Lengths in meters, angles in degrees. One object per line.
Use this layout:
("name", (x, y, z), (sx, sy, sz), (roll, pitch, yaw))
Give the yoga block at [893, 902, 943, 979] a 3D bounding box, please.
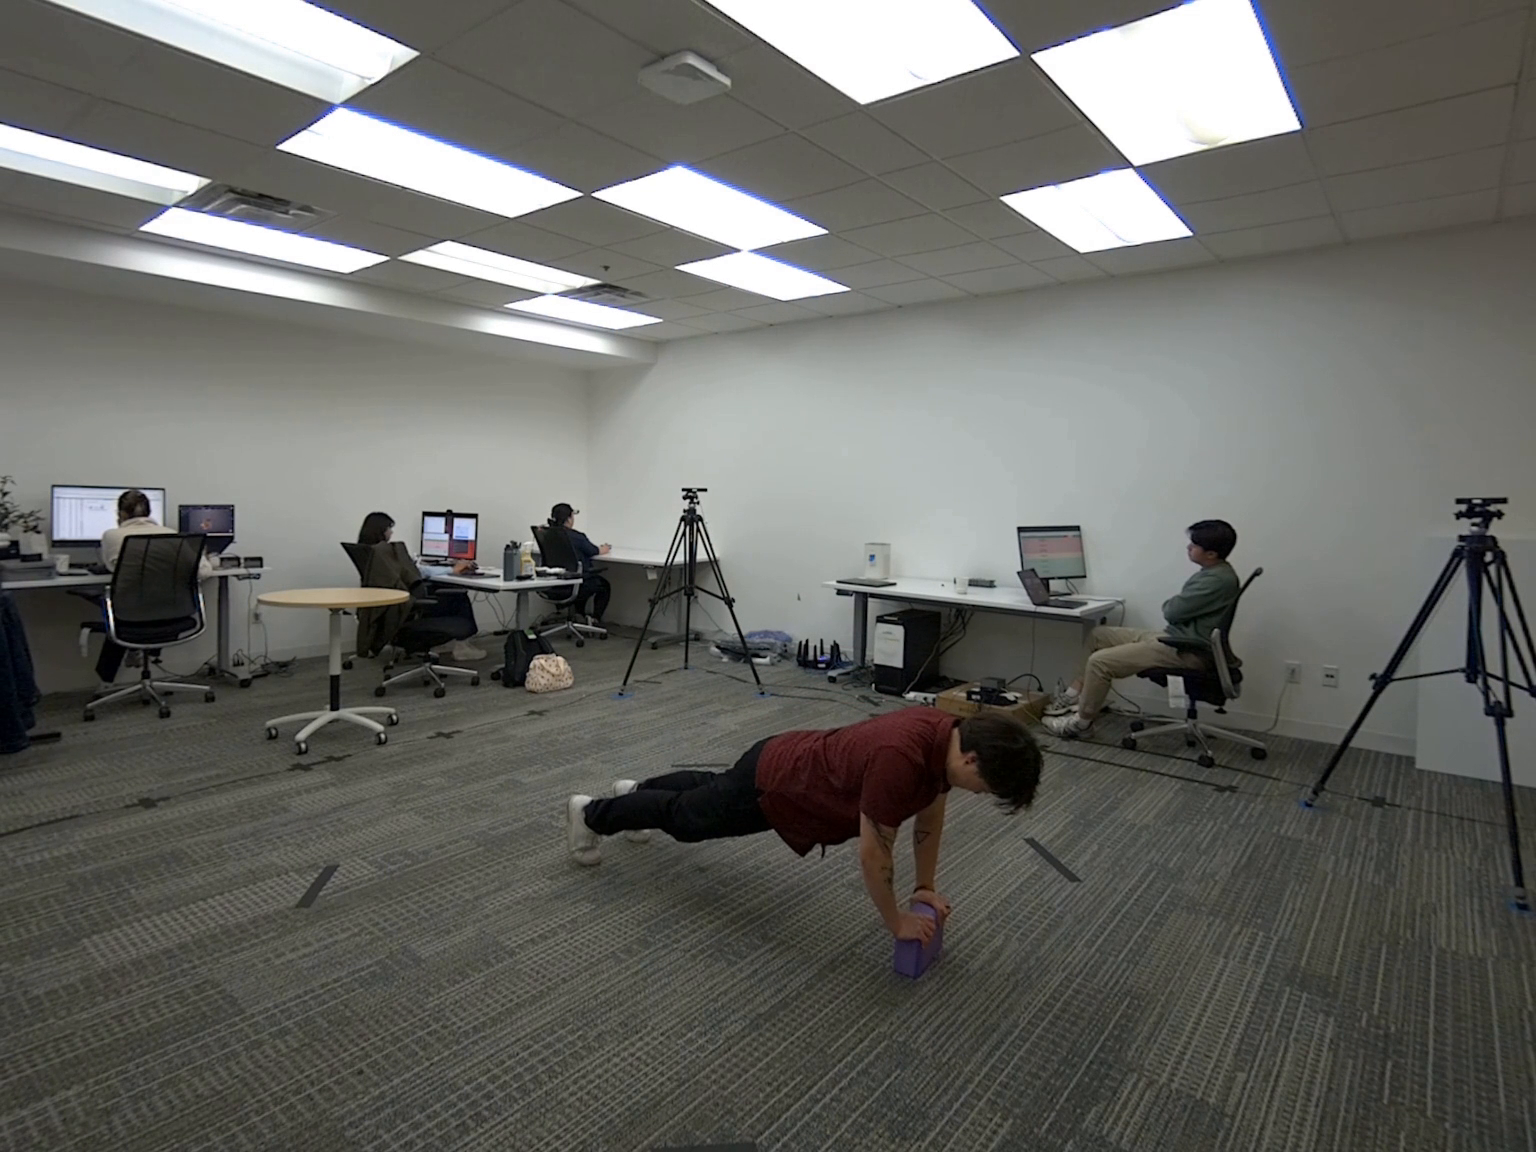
("yoga block", (0.451, 1.068, 2.543), (0.079, 0.148, 0.223), (6, 7, 31))
